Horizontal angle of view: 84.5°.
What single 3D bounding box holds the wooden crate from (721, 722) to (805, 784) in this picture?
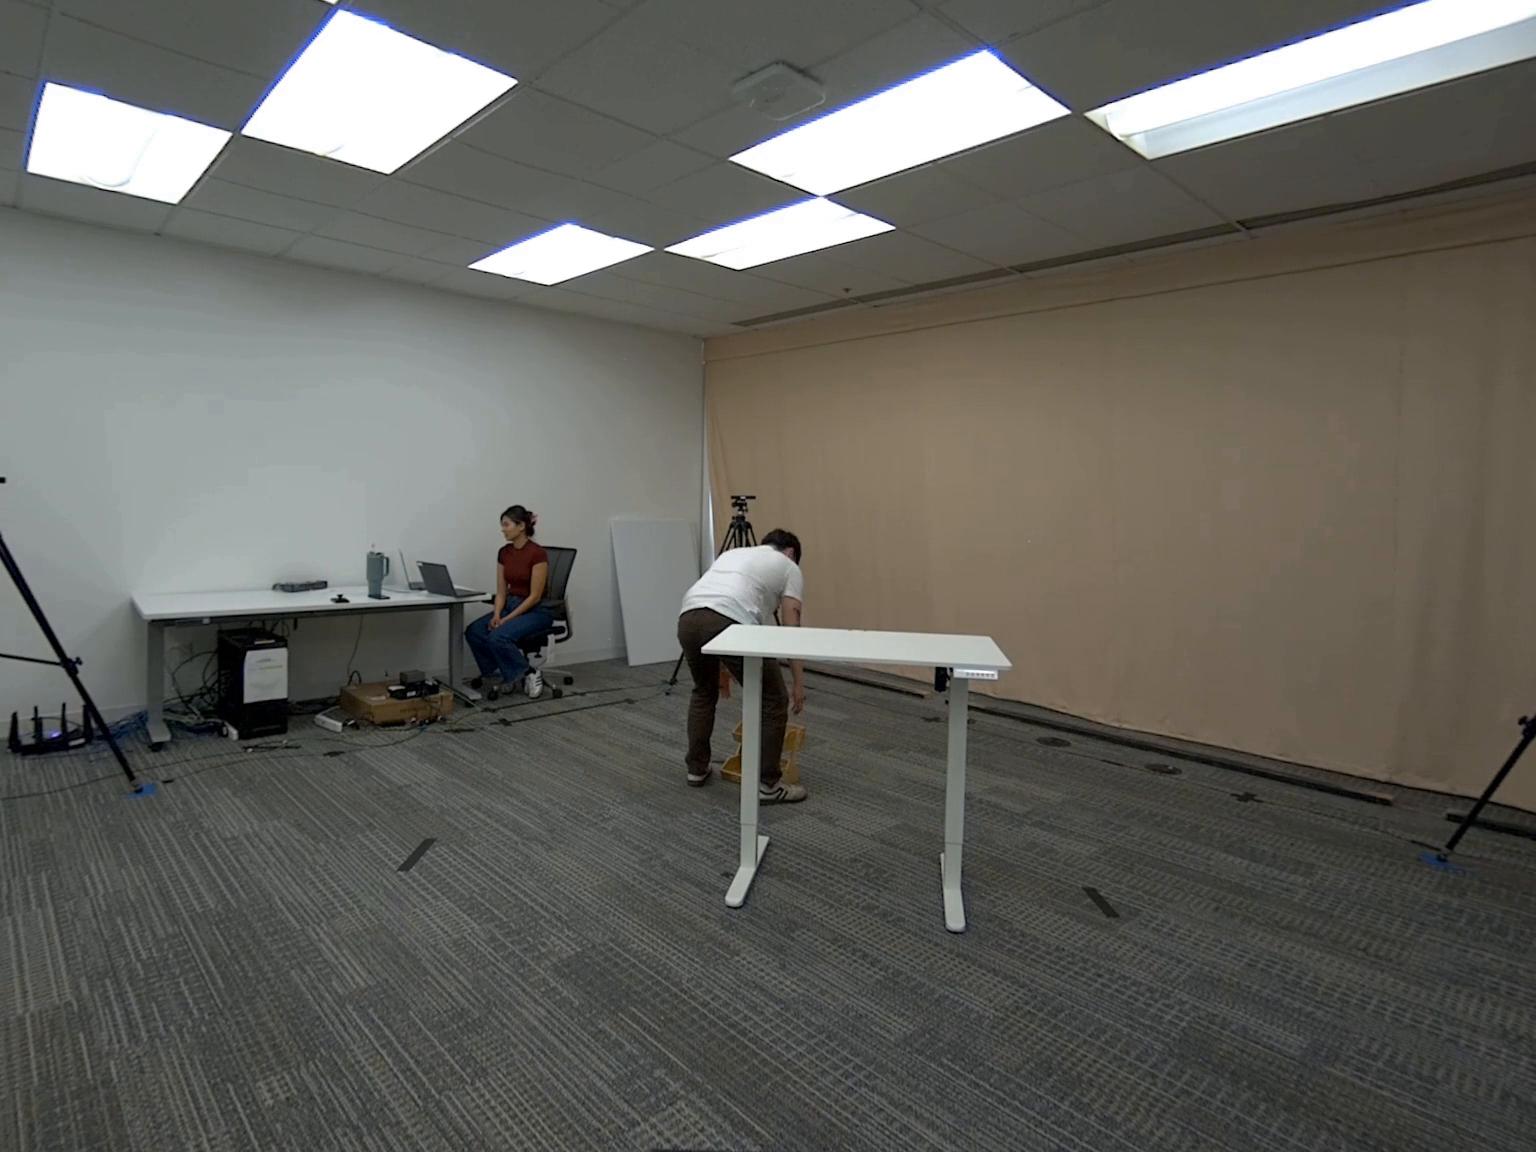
[{"bbox_3d":[-0.037,0.878,4.194,0.332,0.272,0.295,5,5,37],"label":"wooden crate"}]
